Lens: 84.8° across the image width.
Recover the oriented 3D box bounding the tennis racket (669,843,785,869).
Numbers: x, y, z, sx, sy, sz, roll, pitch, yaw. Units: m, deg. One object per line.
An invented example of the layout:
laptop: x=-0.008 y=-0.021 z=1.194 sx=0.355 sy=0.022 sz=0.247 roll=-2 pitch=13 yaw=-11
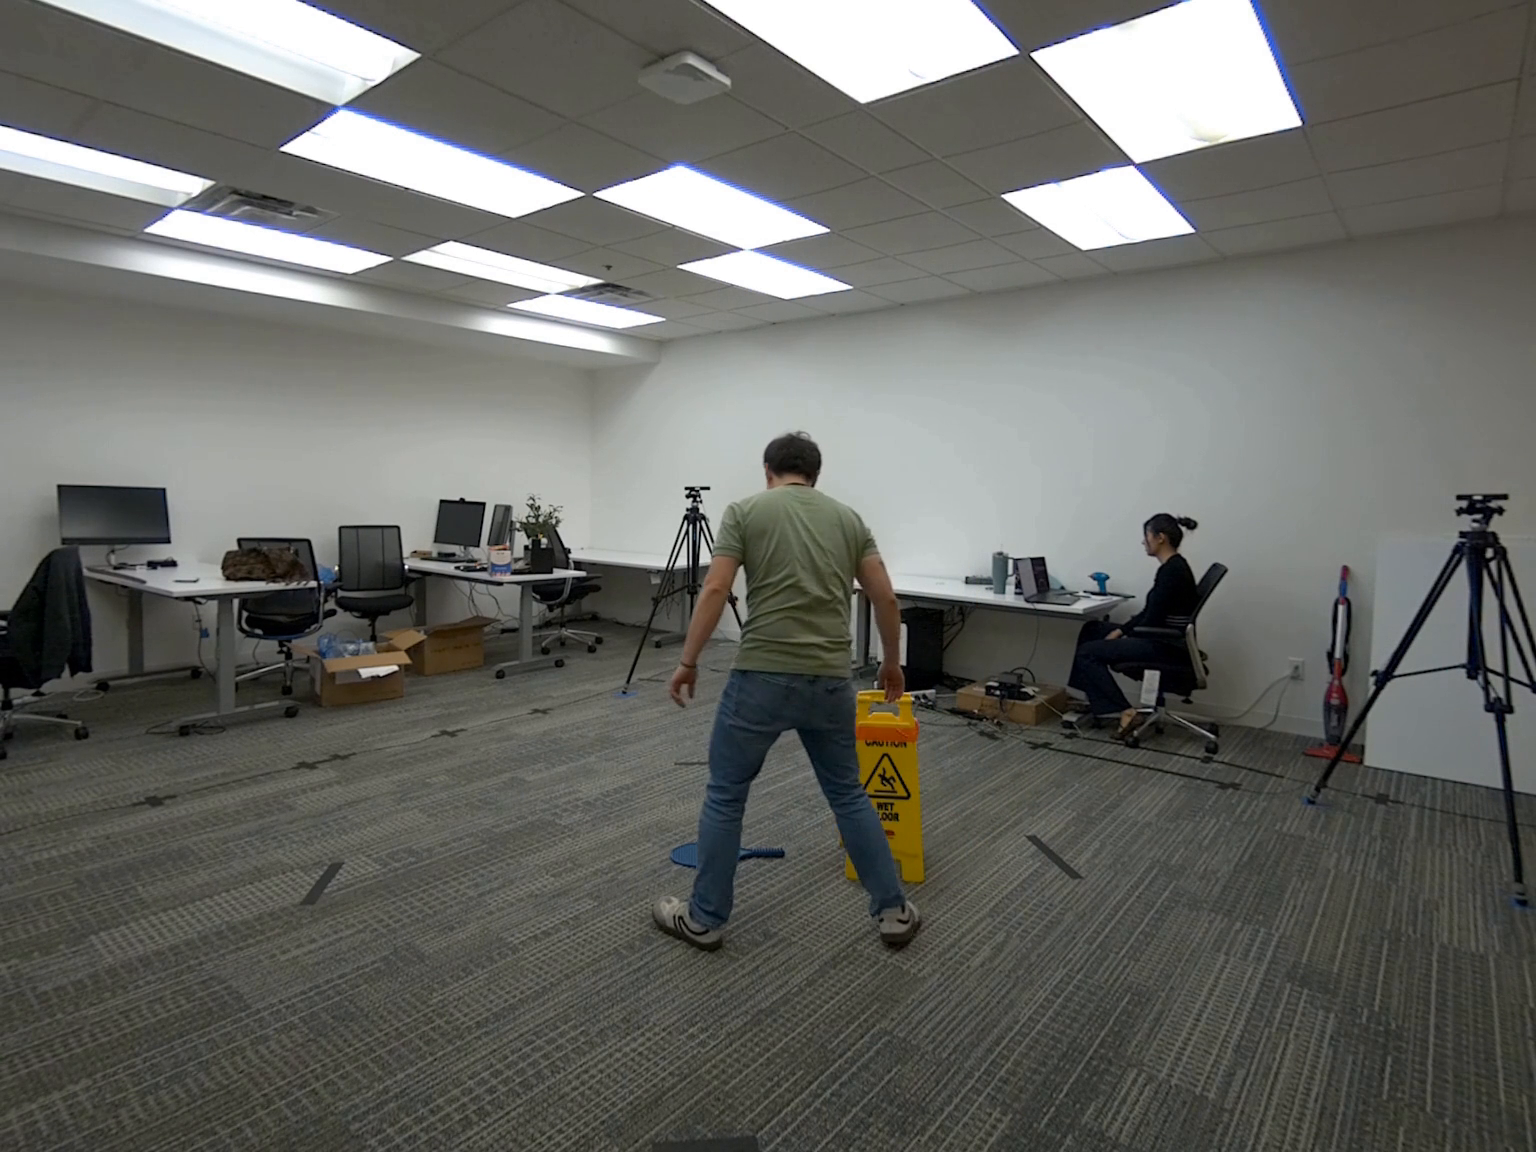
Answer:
tennis racket: x=-0.162 y=1.039 z=3.206 sx=0.431 sy=0.031 sz=0.215 roll=-1 pitch=5 yaw=-5
